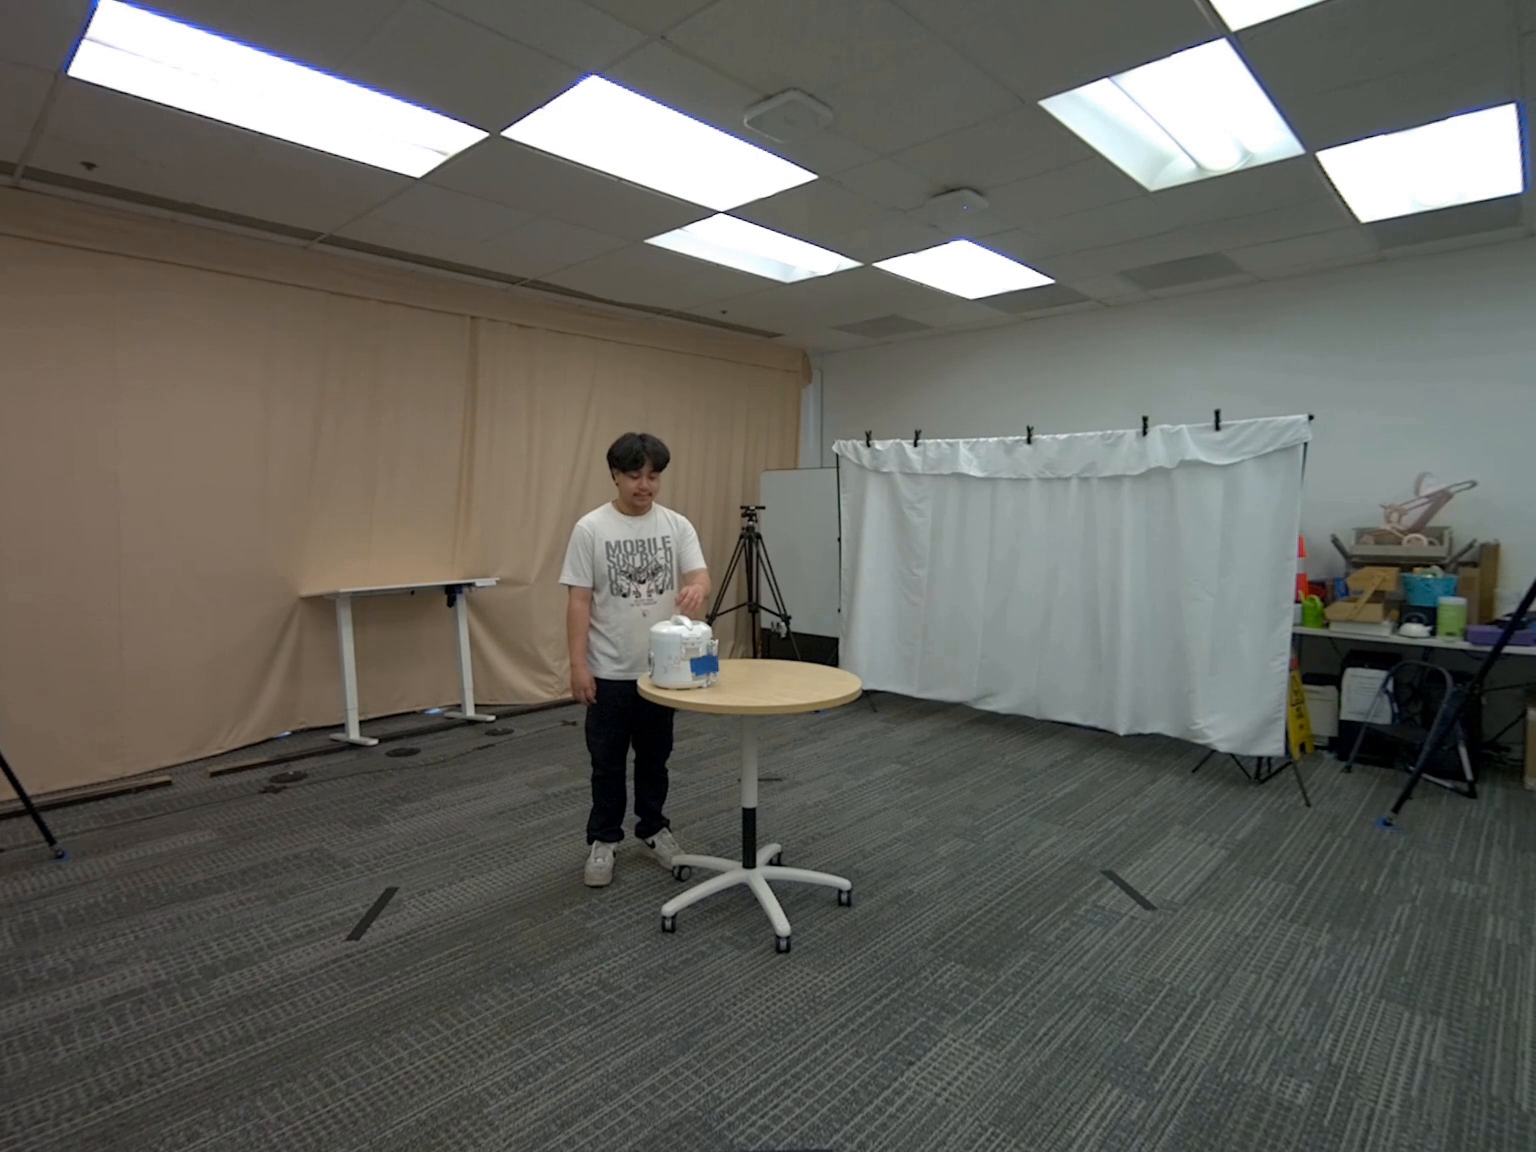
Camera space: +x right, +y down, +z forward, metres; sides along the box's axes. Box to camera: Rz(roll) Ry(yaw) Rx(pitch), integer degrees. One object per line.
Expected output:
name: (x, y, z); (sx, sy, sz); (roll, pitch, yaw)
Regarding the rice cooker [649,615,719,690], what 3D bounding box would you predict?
rice cooker: (-0.287, 0.246, 2.797); (0.212, 0.232, 0.226); (0, 3, -25)
